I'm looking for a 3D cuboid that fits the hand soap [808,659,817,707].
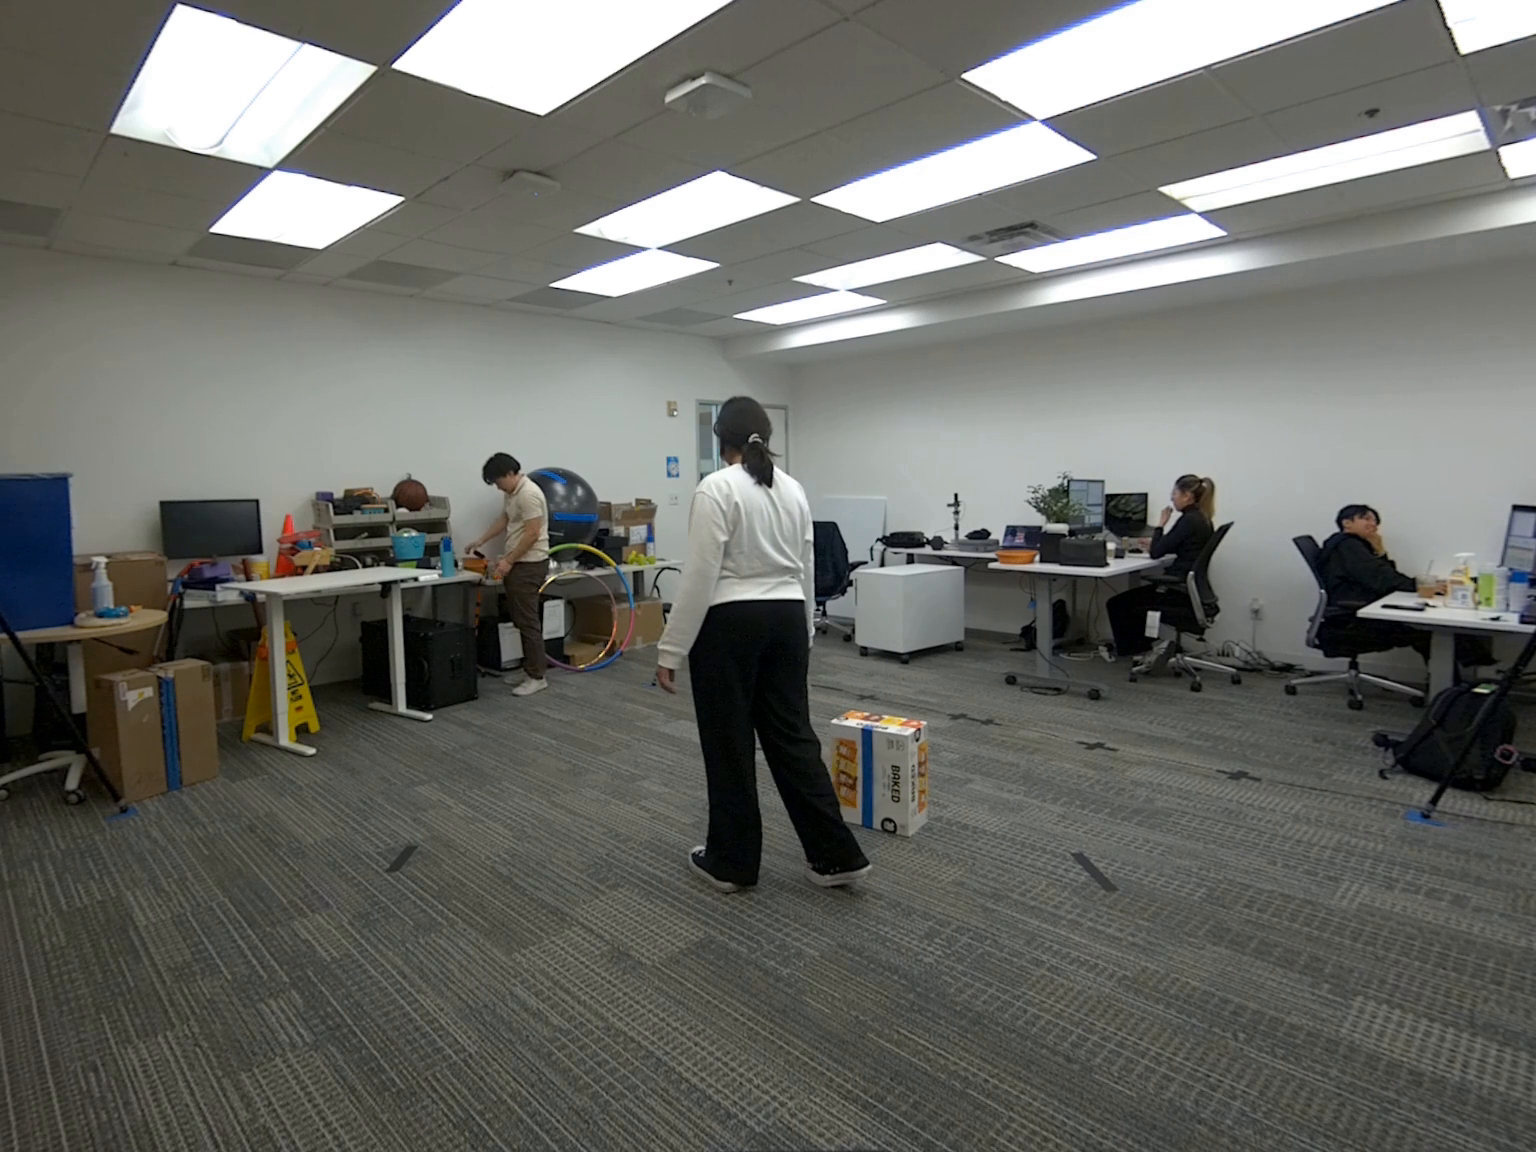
[{"bbox_3d":[0.129,0.398,3.199,0.084,0.167,0.044,1,6,-5],"label":"hand soap"}]
